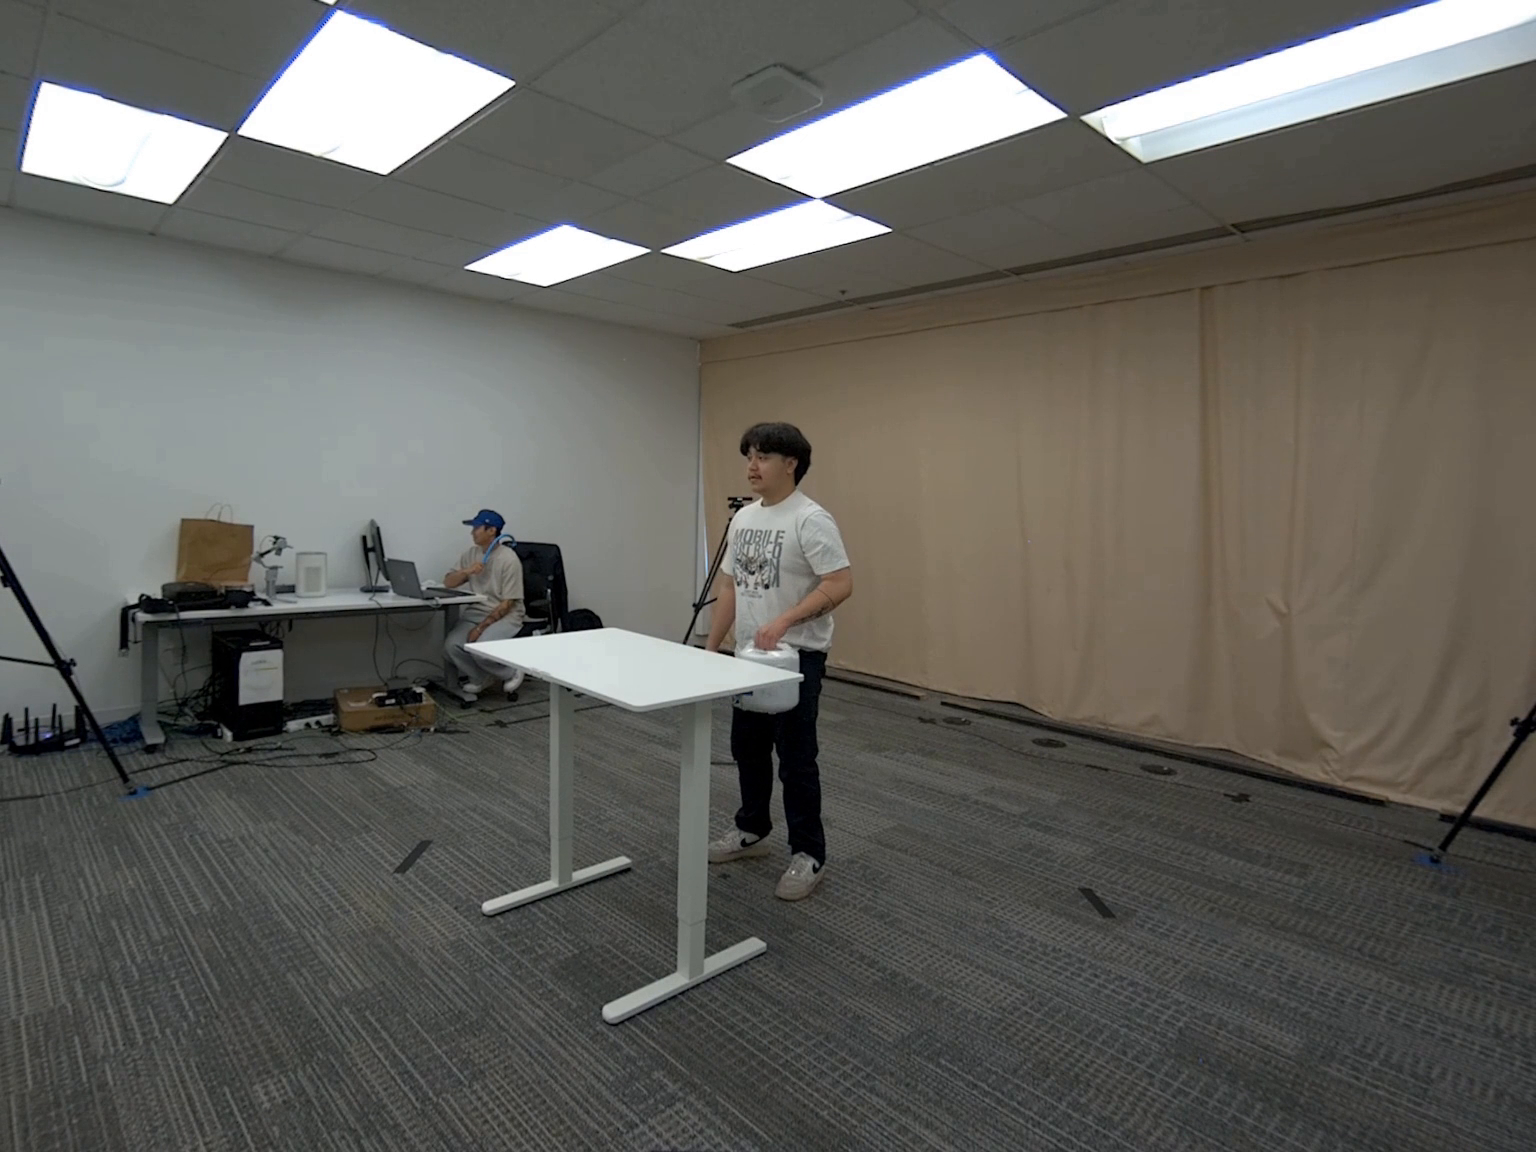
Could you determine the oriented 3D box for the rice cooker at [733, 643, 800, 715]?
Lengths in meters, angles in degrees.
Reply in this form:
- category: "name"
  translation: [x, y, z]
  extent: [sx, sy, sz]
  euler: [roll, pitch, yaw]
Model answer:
- category: "rice cooker"
  translation: [-0.016, 0.336, 2.864]
  extent: [0.225, 0.232, 0.213]
  euler: [4, 4, 27]
